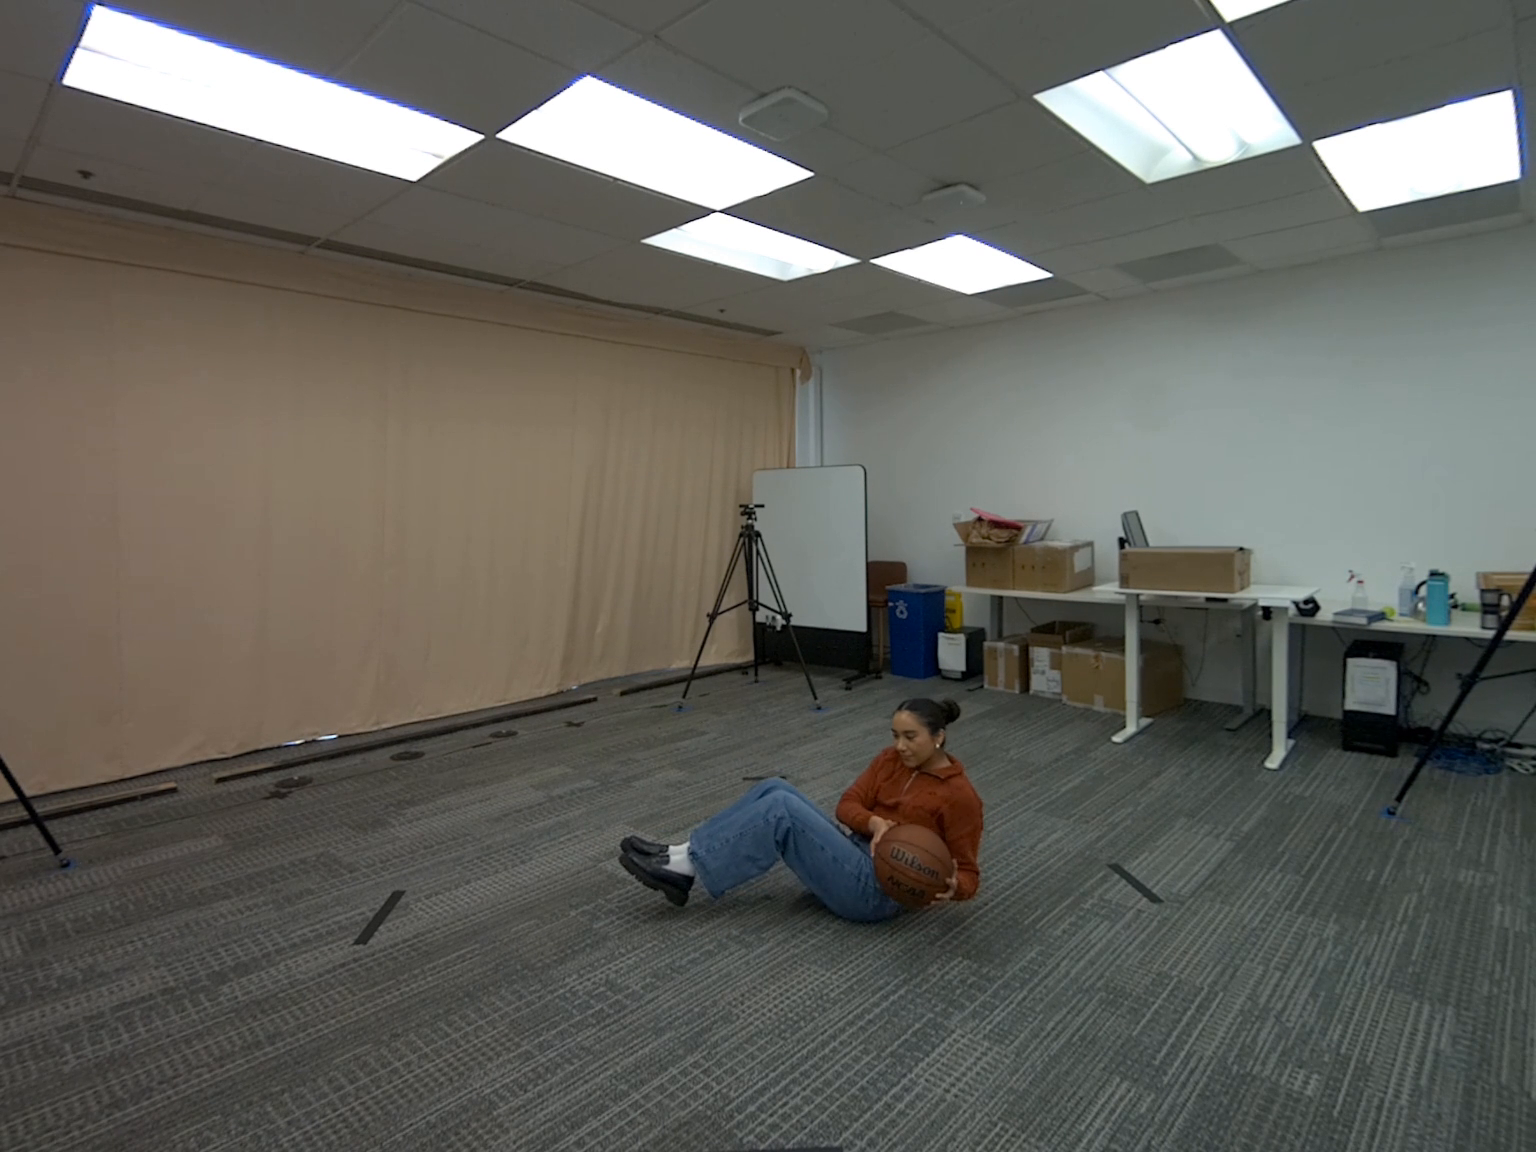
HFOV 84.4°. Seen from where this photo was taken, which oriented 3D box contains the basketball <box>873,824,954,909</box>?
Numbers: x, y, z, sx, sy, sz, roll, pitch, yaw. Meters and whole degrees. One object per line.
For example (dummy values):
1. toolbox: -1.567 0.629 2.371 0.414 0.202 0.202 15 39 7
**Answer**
1. basketball: 0.439 0.890 2.568 0.236 0.235 0.237 -1 4 -2
